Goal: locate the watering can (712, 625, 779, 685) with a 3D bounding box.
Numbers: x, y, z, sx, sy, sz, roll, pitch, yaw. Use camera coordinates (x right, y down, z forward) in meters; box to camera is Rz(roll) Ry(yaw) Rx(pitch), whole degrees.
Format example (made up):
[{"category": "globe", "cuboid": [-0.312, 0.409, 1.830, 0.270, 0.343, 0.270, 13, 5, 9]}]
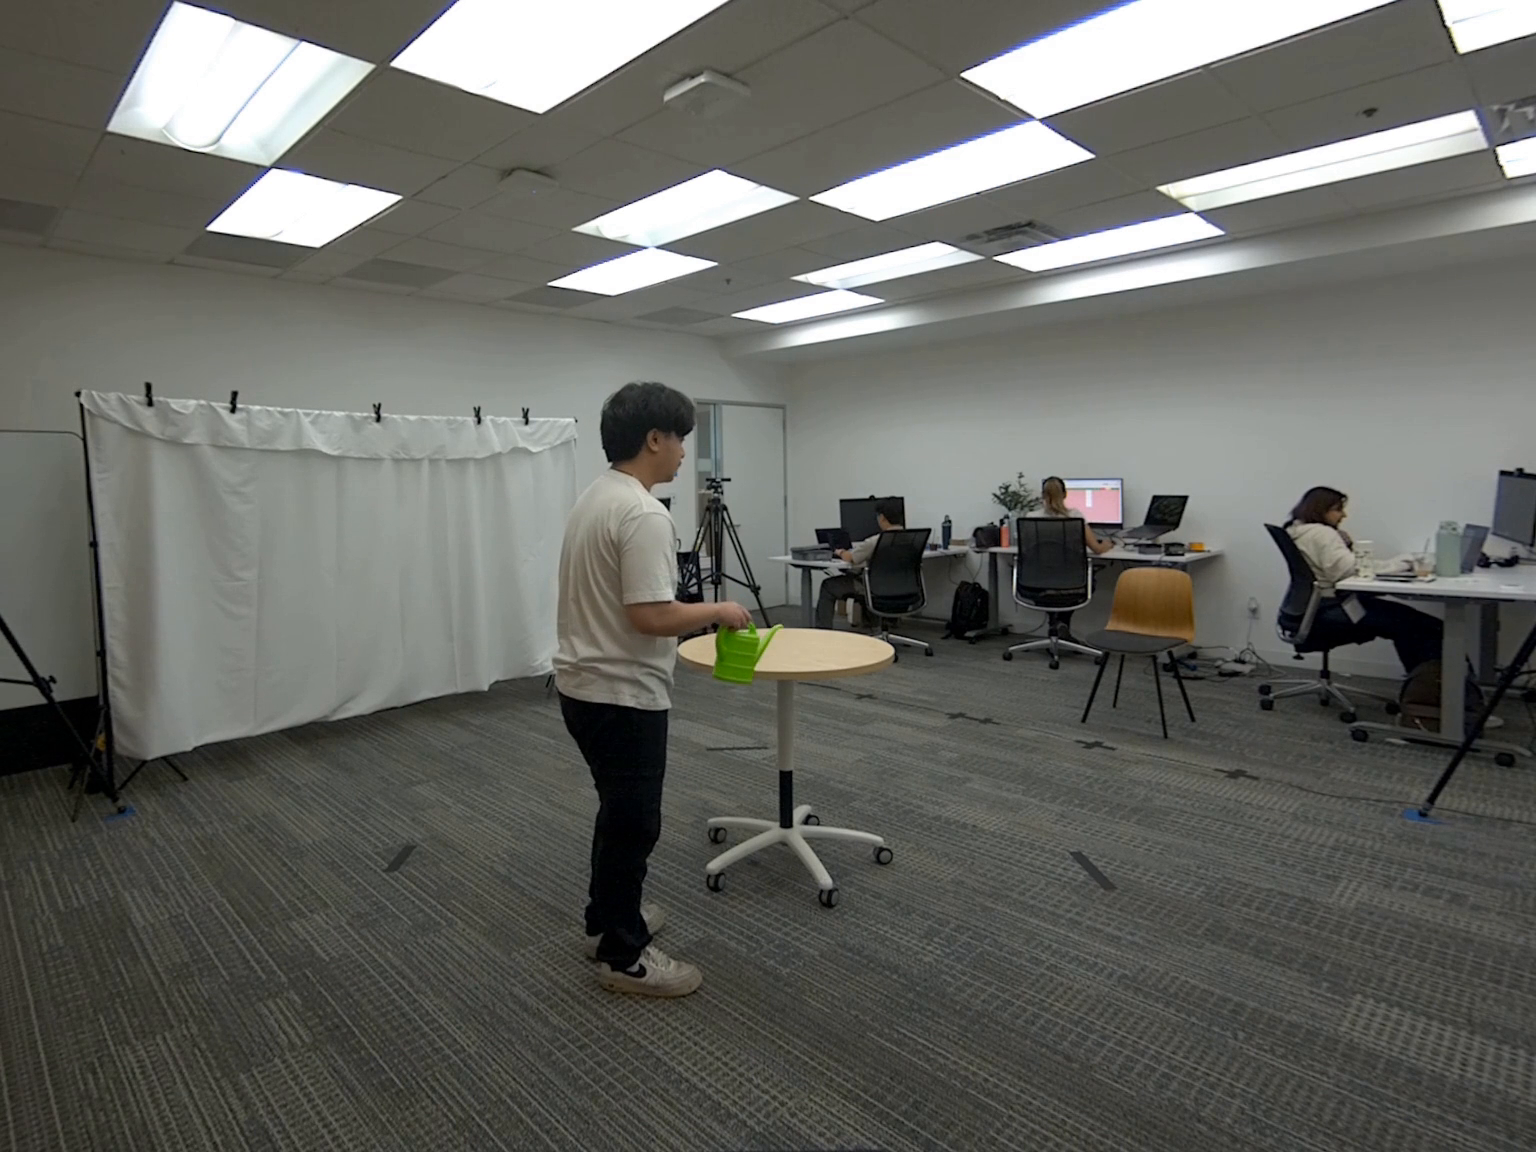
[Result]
[{"category": "watering can", "cuboid": [-0.058, 0.213, 2.423, 0.269, 0.177, 0.101, 11, -1, -36]}]
